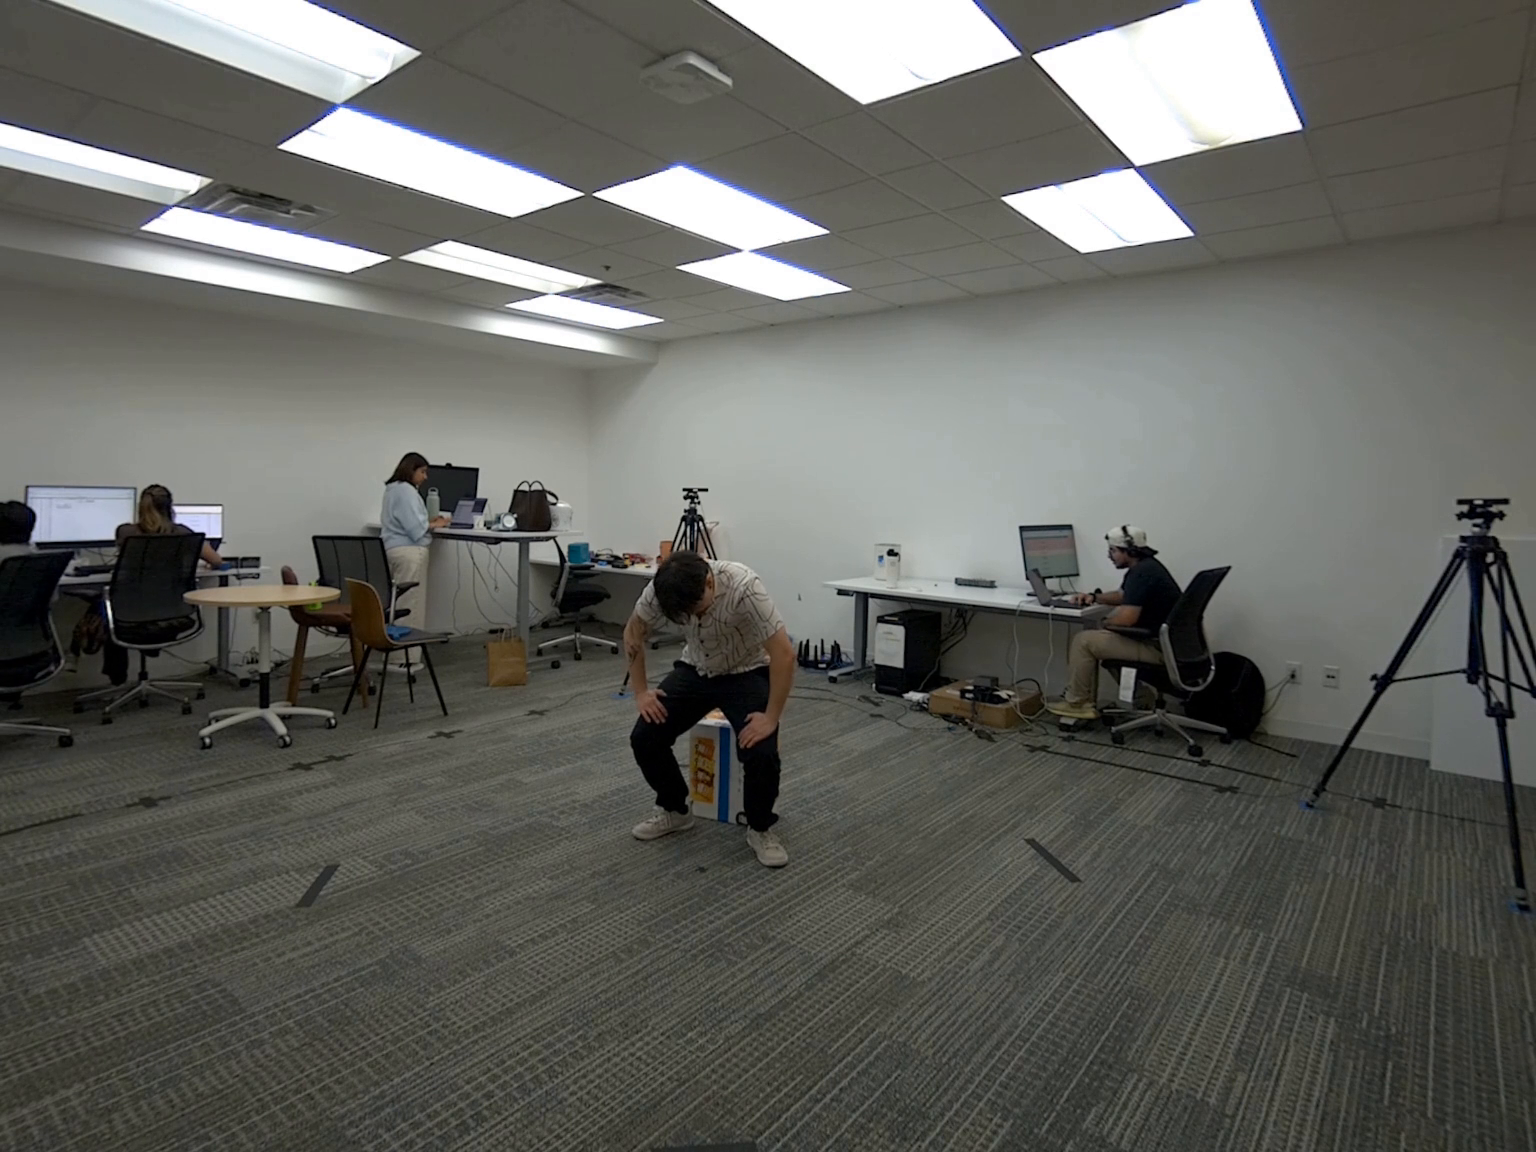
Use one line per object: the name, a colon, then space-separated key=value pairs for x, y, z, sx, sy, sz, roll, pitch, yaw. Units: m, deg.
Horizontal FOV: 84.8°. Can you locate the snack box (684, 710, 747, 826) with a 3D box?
snack box: x=-0.152 y=0.815 z=3.635 sx=0.349 sy=0.404 sz=0.201 roll=2 pitch=4 yaw=24
